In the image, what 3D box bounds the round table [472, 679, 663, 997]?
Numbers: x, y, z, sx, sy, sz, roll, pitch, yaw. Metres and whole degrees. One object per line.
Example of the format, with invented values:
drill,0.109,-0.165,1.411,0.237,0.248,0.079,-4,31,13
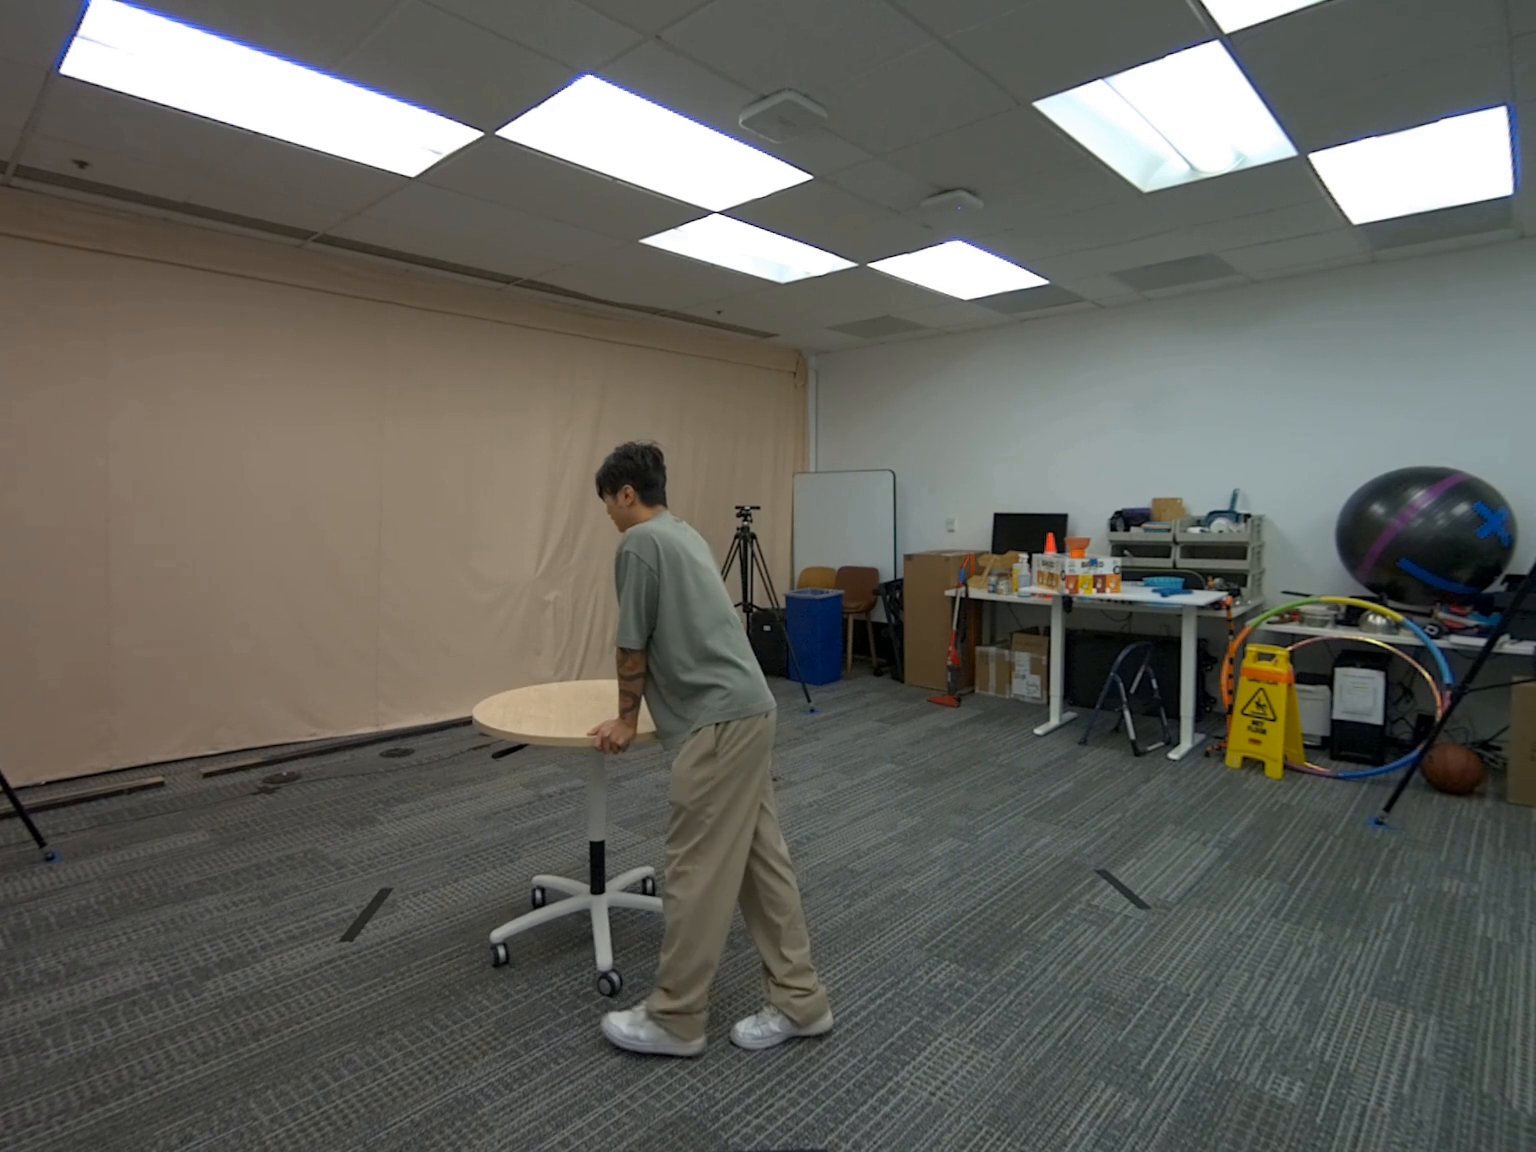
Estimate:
round table,-0.534,0.789,2.736,0.784,0.785,0.788,0,4,-2
